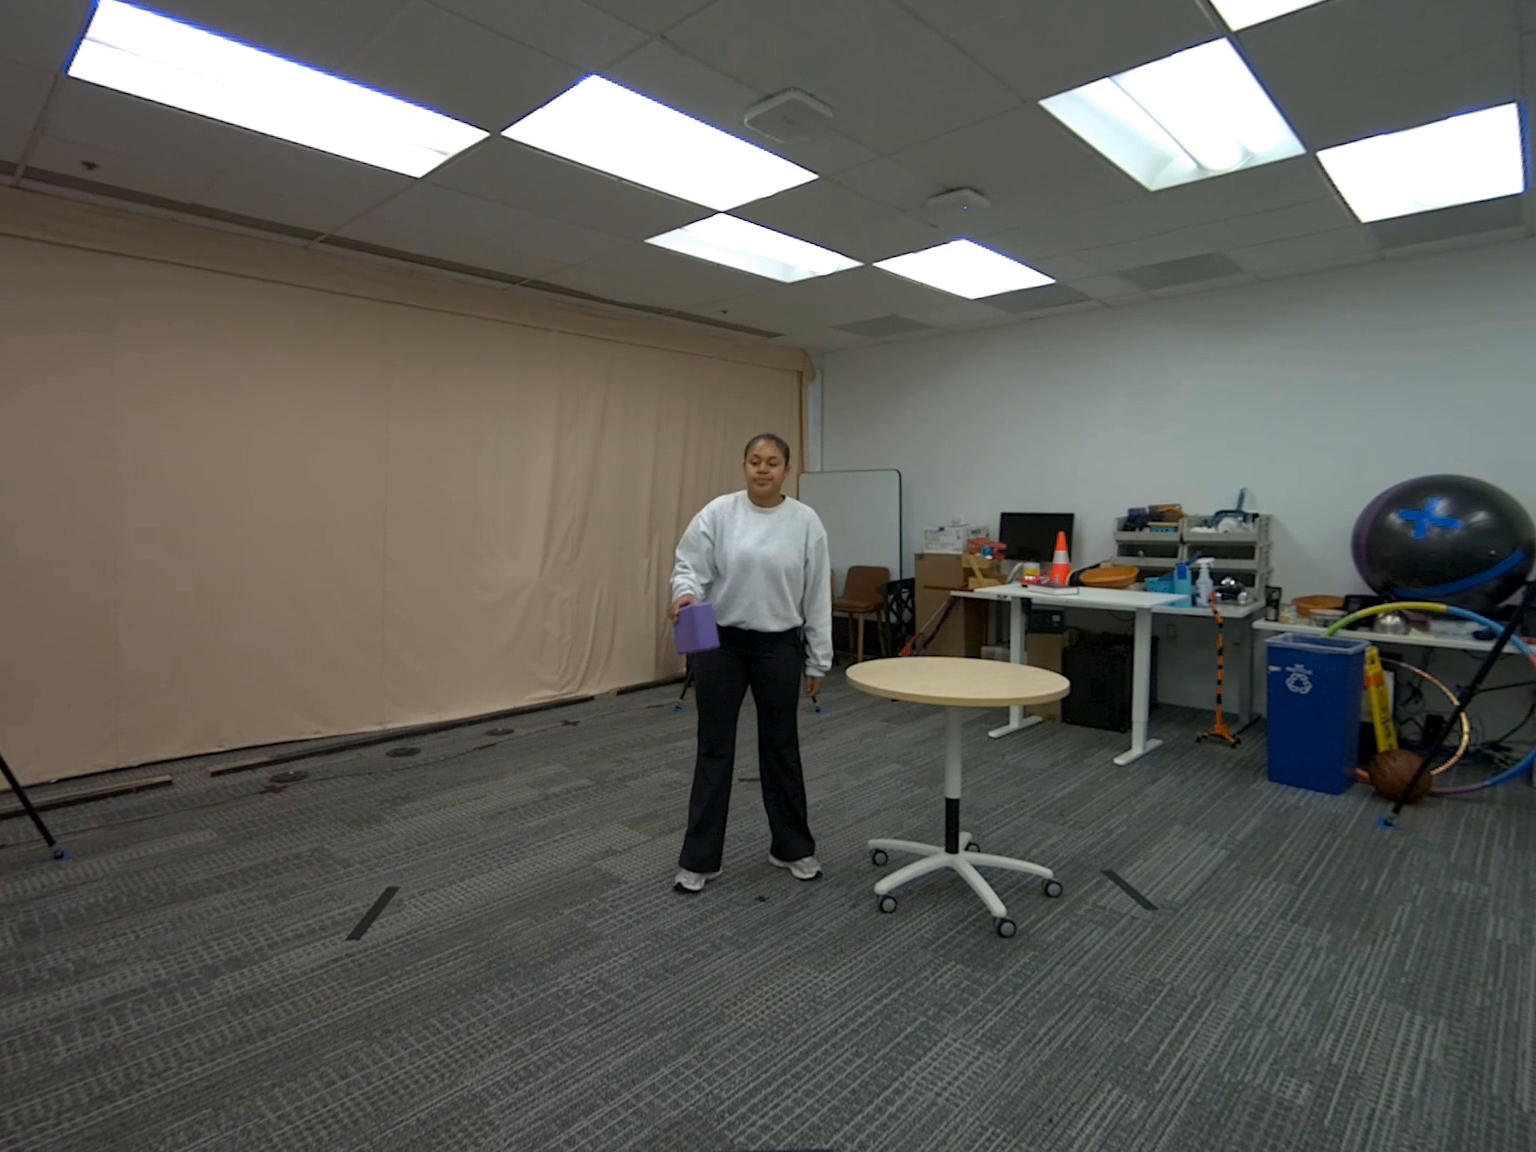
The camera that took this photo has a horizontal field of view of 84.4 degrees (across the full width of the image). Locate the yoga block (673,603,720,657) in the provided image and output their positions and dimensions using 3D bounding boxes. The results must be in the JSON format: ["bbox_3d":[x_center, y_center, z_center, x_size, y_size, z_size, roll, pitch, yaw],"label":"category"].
[{"bbox_3d":[-0.222,0.168,2.719,0.075,0.150,0.231,-3,-7,-15],"label":"yoga block"}]
